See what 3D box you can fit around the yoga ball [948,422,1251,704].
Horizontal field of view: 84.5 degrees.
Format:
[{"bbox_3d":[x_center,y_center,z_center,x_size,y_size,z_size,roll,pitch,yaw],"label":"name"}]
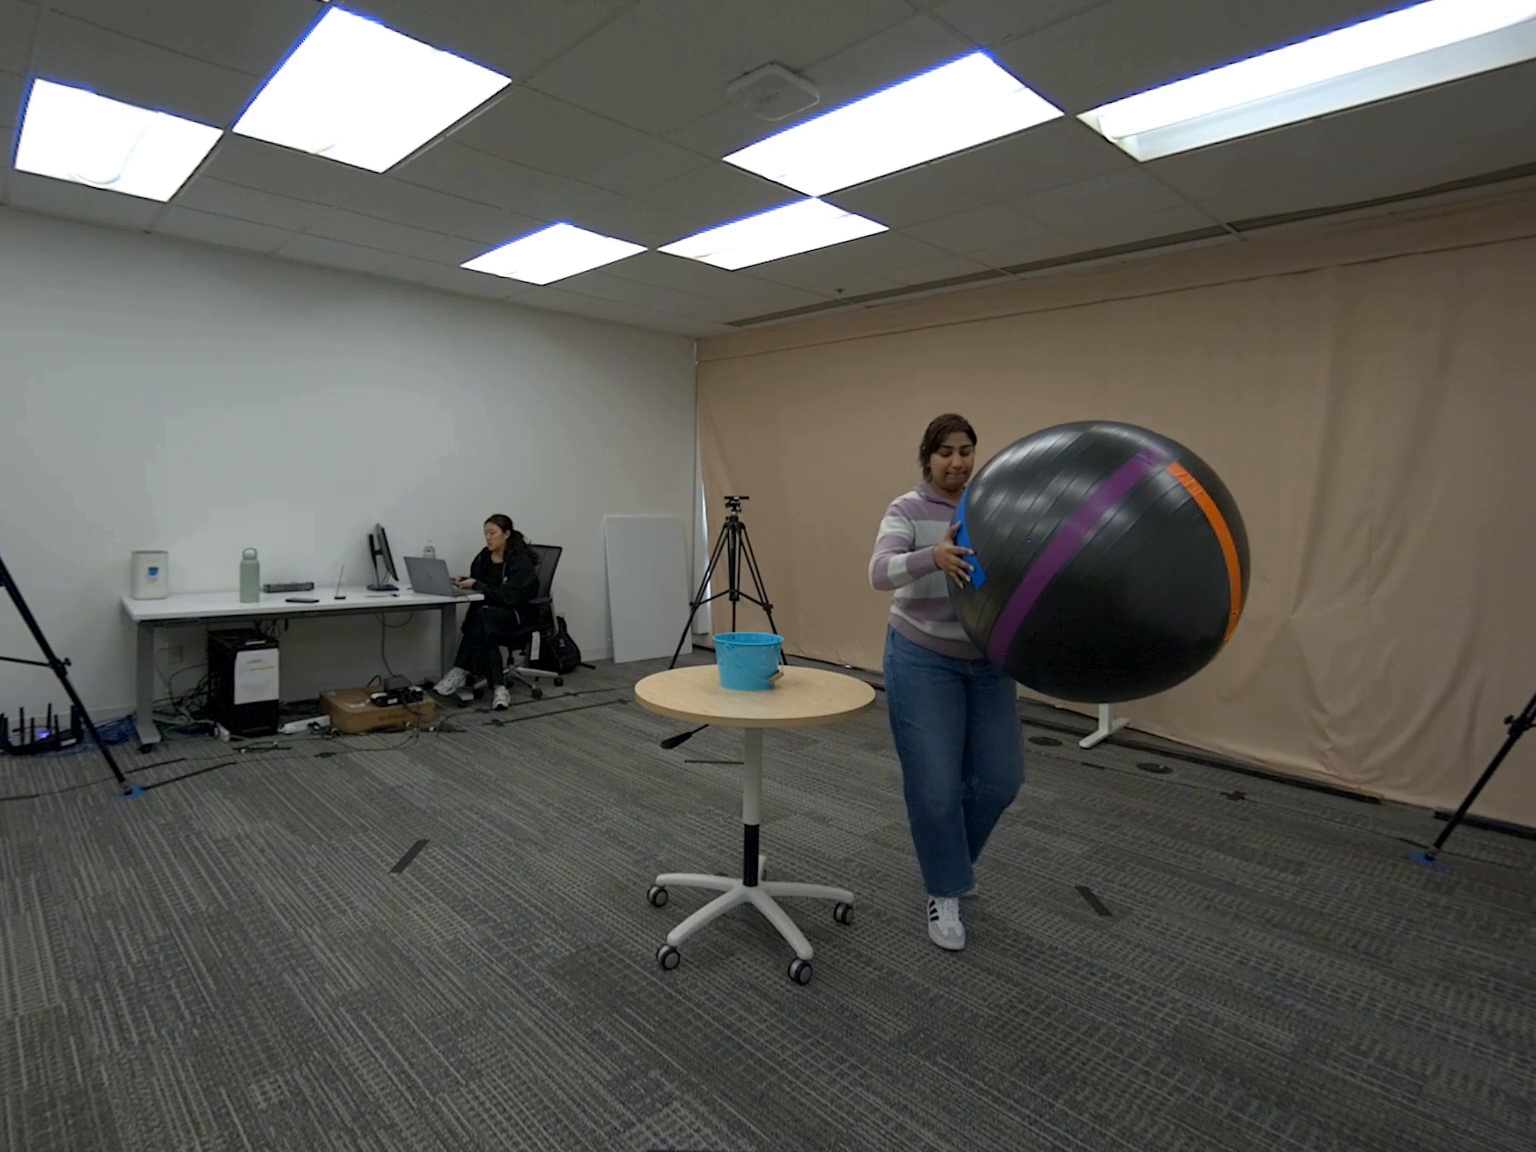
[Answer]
[{"bbox_3d":[0.880,-0.031,2.280,0.757,0.756,0.761,1,4,-1],"label":"yoga ball"}]
